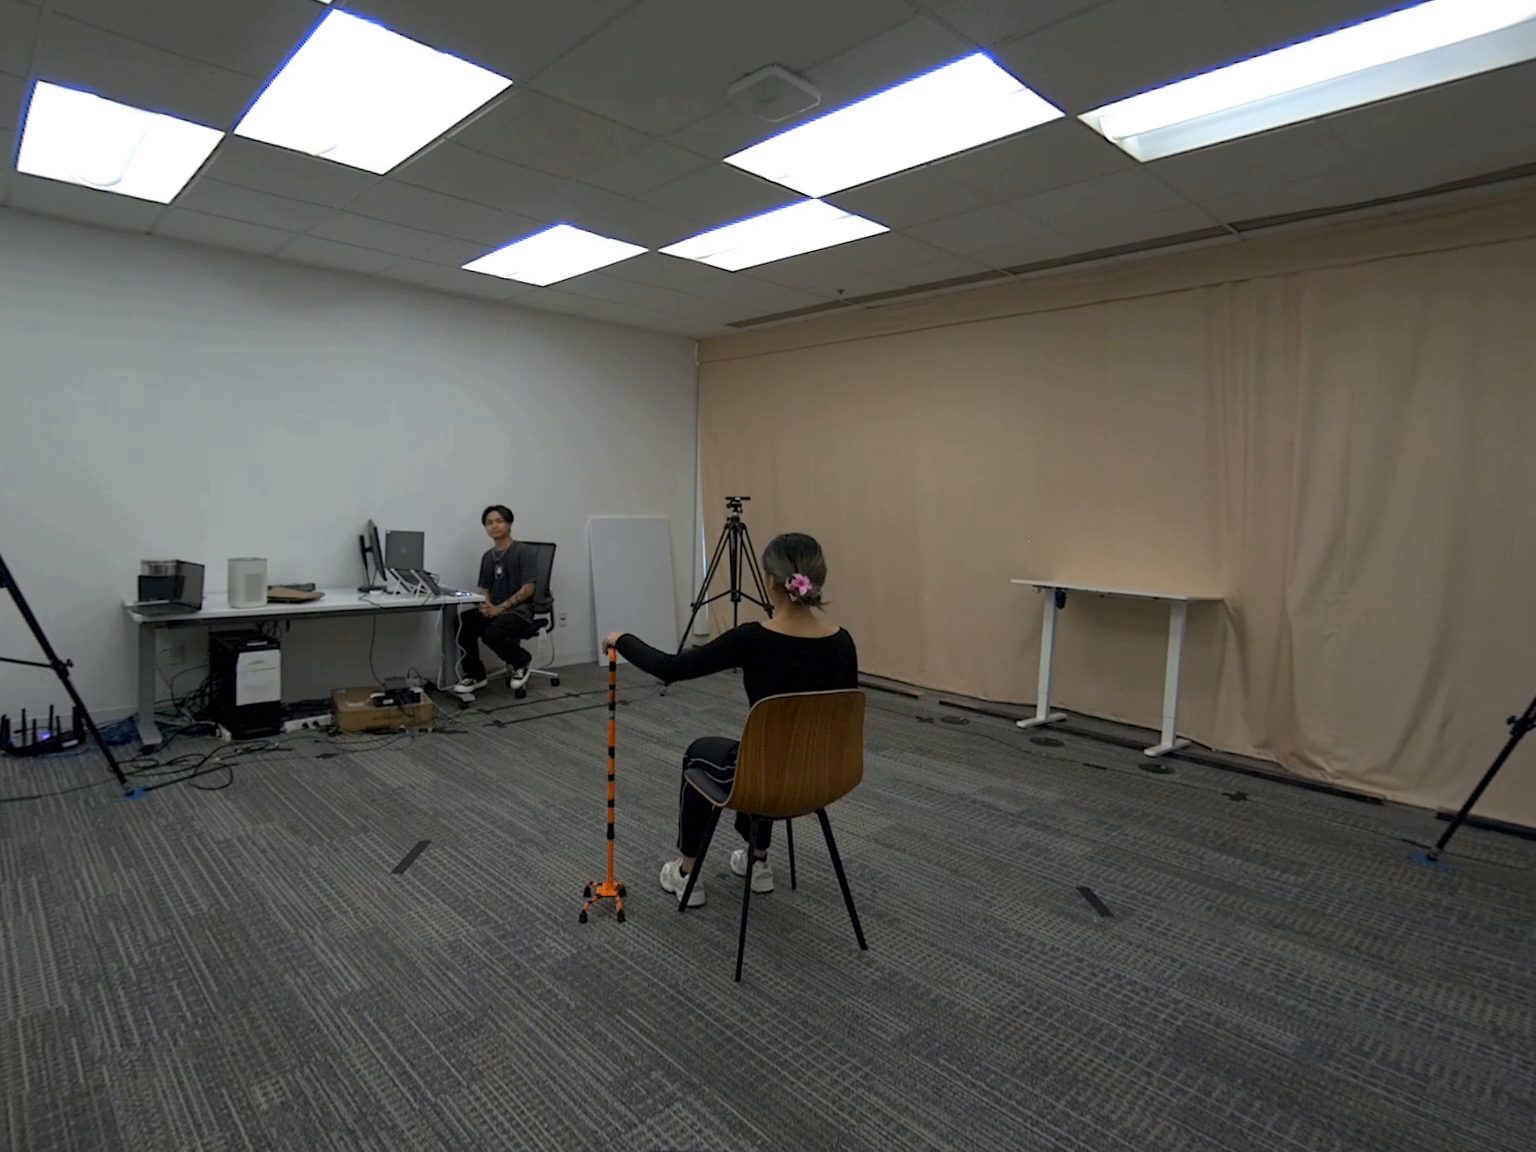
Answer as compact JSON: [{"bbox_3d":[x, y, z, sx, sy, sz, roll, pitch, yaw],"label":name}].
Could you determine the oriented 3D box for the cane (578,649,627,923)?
[{"bbox_3d":[-0.544,0.667,2.819,0.151,0.906,0.208,0,2,-8],"label":"cane"}]
